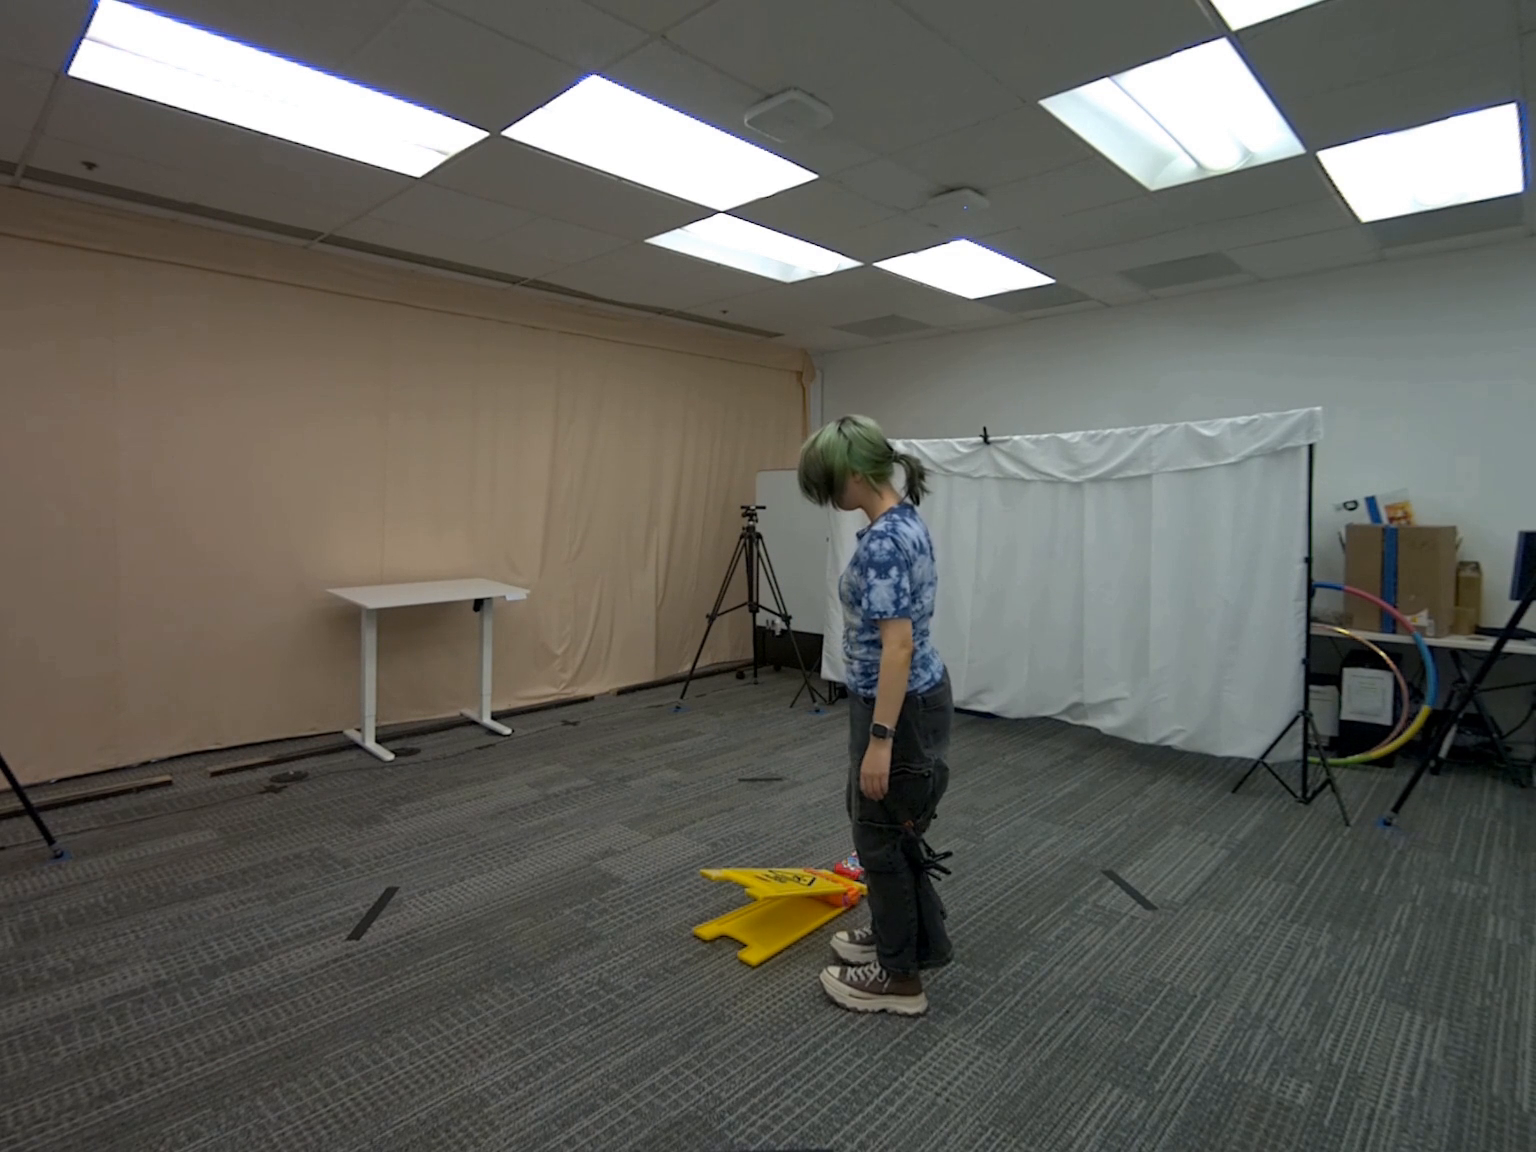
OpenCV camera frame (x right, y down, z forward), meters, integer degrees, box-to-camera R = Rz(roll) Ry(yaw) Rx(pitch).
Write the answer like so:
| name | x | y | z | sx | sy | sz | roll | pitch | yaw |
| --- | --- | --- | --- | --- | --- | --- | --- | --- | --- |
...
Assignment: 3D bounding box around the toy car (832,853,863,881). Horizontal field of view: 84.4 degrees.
| name | x | y | z | sx | sy | sz | roll | pitch | yaw |
| --- | --- | --- | --- | --- | --- | --- | --- | --- | --- |
| toy car | 0.358 | 1.087 | 3.191 | 0.134 | 0.082 | 0.248 | 4 | 16 | 40 |
